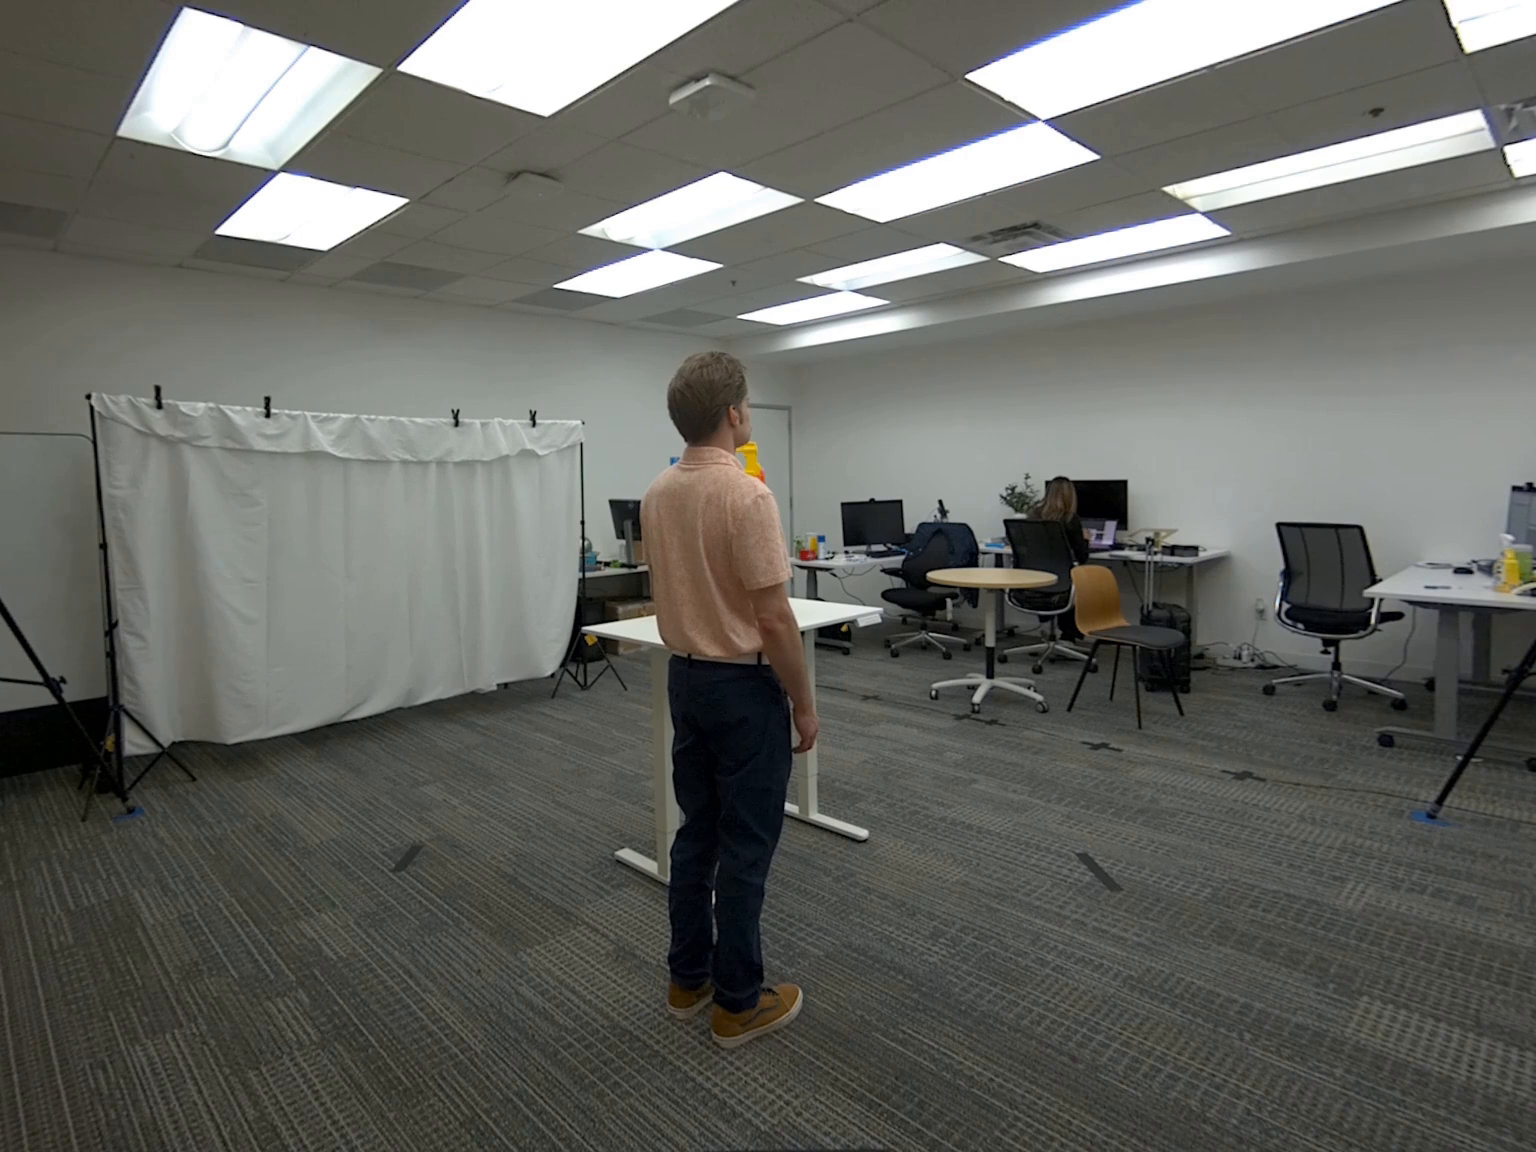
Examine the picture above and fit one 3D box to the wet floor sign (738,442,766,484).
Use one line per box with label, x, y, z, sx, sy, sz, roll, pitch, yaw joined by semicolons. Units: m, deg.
wet floor sign;-0.128;-0.164;3.155;0.284;0.643;0.289;-2;4;7
